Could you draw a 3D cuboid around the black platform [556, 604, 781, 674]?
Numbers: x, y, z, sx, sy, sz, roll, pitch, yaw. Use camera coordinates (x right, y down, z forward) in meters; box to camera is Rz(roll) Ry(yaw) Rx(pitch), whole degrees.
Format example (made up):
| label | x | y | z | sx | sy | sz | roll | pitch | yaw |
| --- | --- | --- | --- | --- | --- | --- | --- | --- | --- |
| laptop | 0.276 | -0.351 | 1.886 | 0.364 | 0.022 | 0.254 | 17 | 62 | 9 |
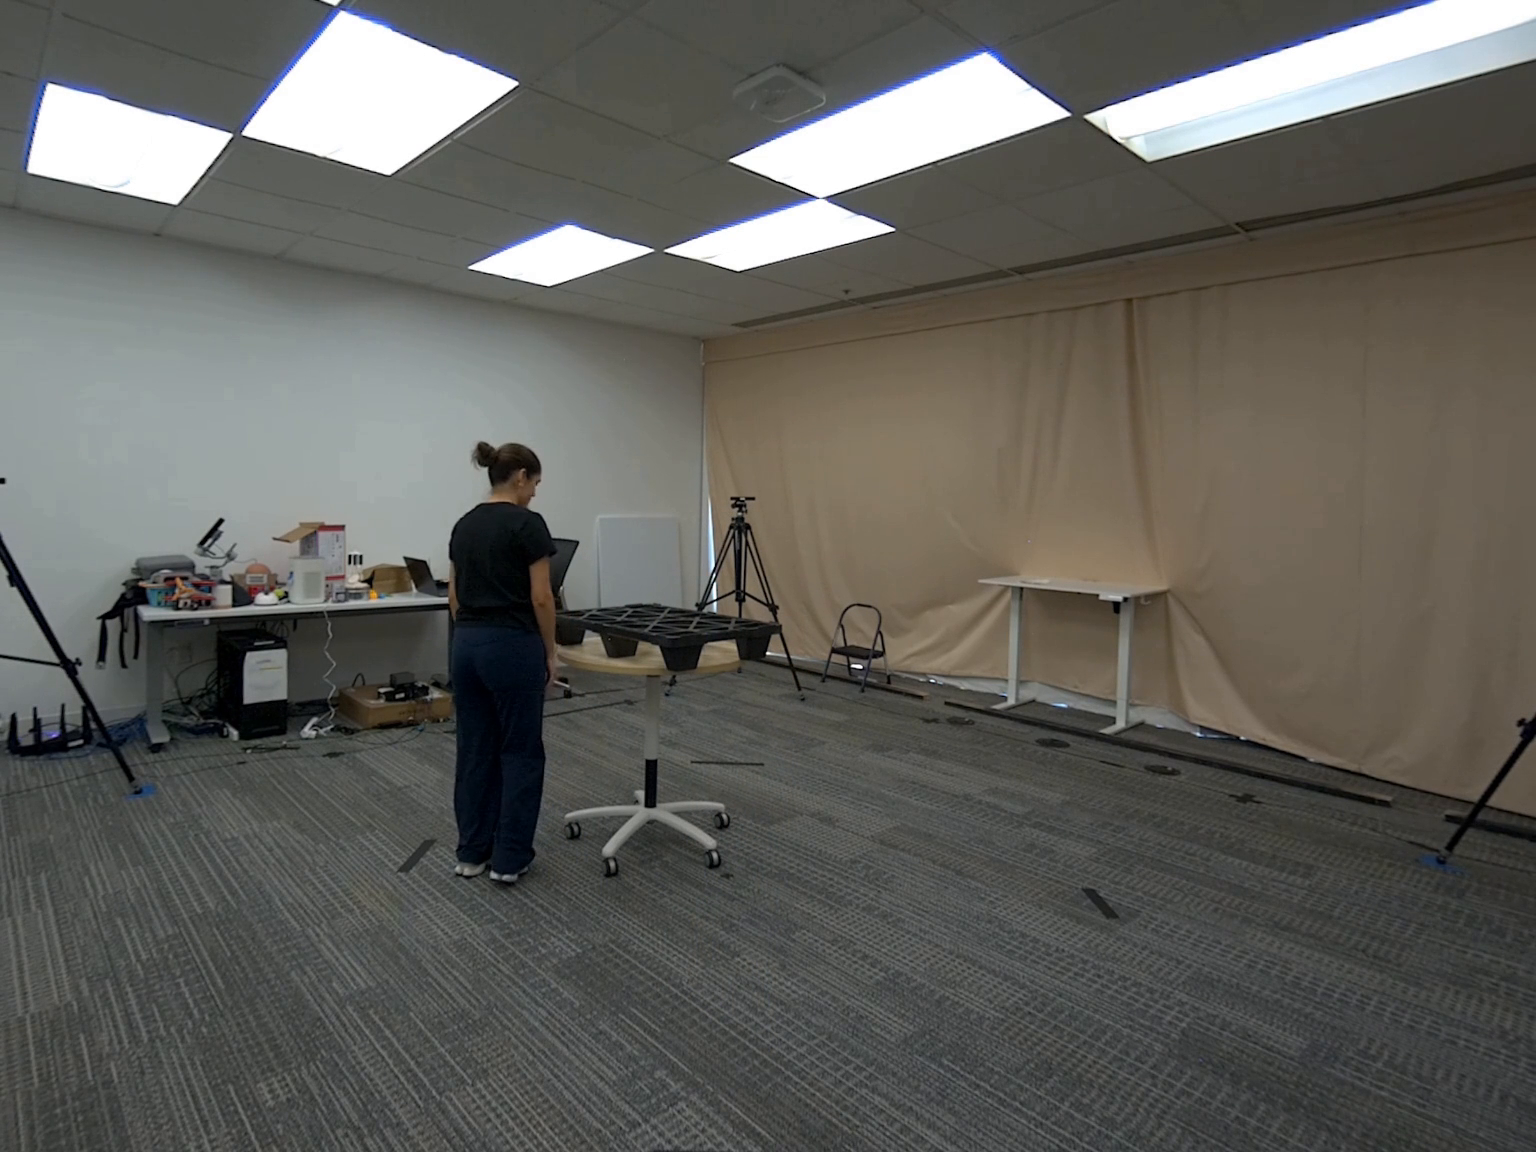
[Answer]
| label | x | y | z | sx | sy | sz | roll | pitch | yaw |
| --- | --- | --- | --- | --- | --- | --- | --- | --- | --- |
| black platform | -0.438 | 0.236 | 3.330 | 0.826 | 0.143 | 0.591 | 7 | 6 | 42 |
